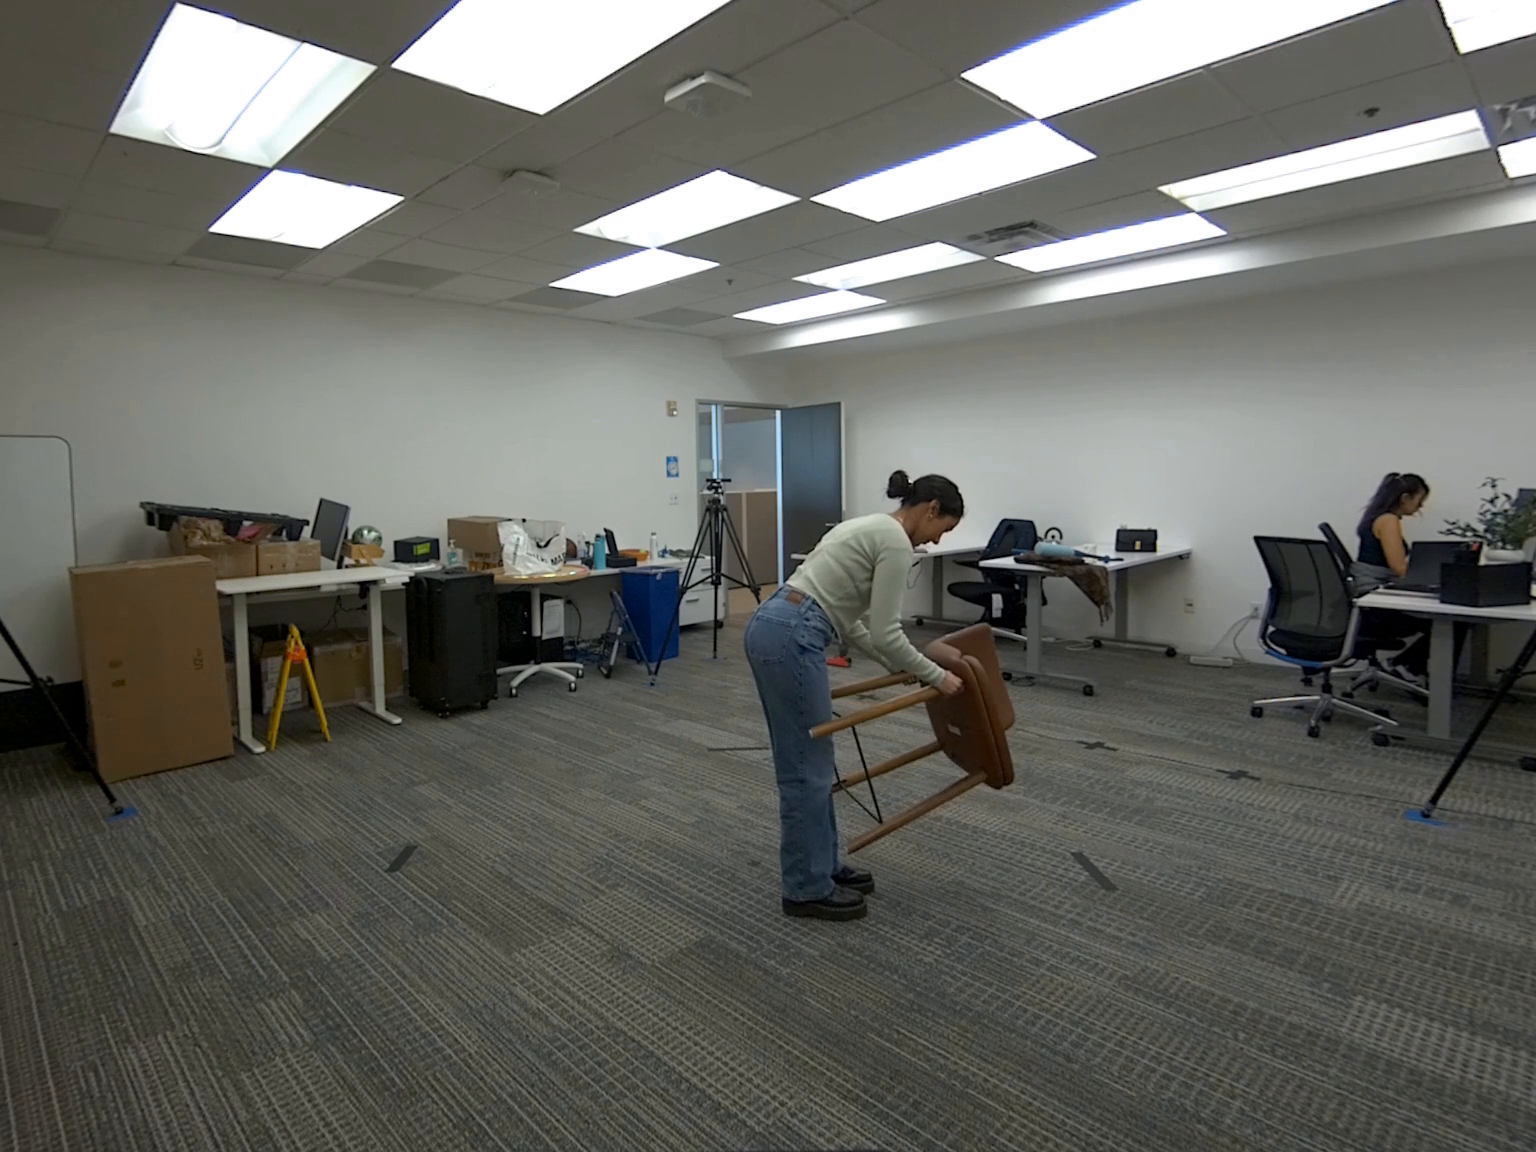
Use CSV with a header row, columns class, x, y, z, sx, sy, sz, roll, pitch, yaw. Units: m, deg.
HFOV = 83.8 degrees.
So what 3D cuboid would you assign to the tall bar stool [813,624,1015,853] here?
class,x,y,z,sx,sy,sz,roll,pitch,yaw
tall bar stool,0.531,0.508,2.886,0.882,0.454,0.475,-19,7,-14
